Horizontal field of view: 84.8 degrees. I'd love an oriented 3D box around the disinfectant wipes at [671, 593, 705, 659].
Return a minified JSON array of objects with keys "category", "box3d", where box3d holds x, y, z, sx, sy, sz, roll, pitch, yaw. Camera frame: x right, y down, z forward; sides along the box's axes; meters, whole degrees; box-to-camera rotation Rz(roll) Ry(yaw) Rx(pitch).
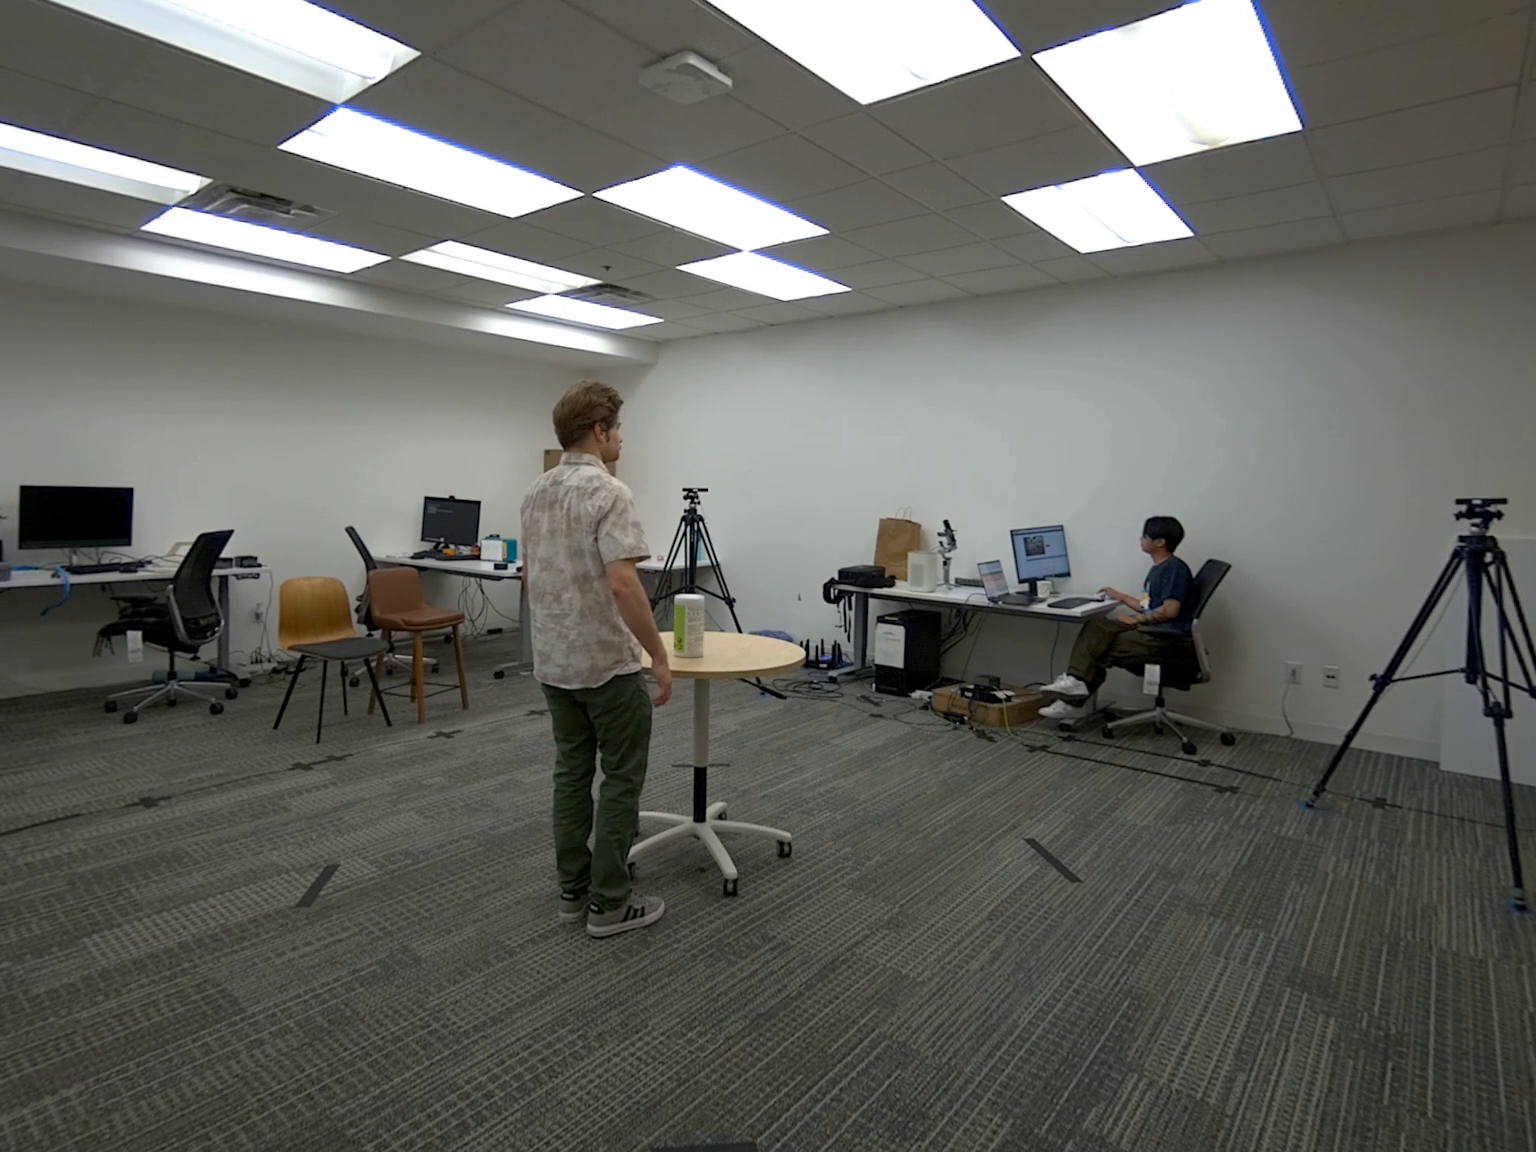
[{"category":"disinfectant wipes","box3d":[-0.289,0.177,3.050,0.118,0.217,0.118,0,4,-2]}]
